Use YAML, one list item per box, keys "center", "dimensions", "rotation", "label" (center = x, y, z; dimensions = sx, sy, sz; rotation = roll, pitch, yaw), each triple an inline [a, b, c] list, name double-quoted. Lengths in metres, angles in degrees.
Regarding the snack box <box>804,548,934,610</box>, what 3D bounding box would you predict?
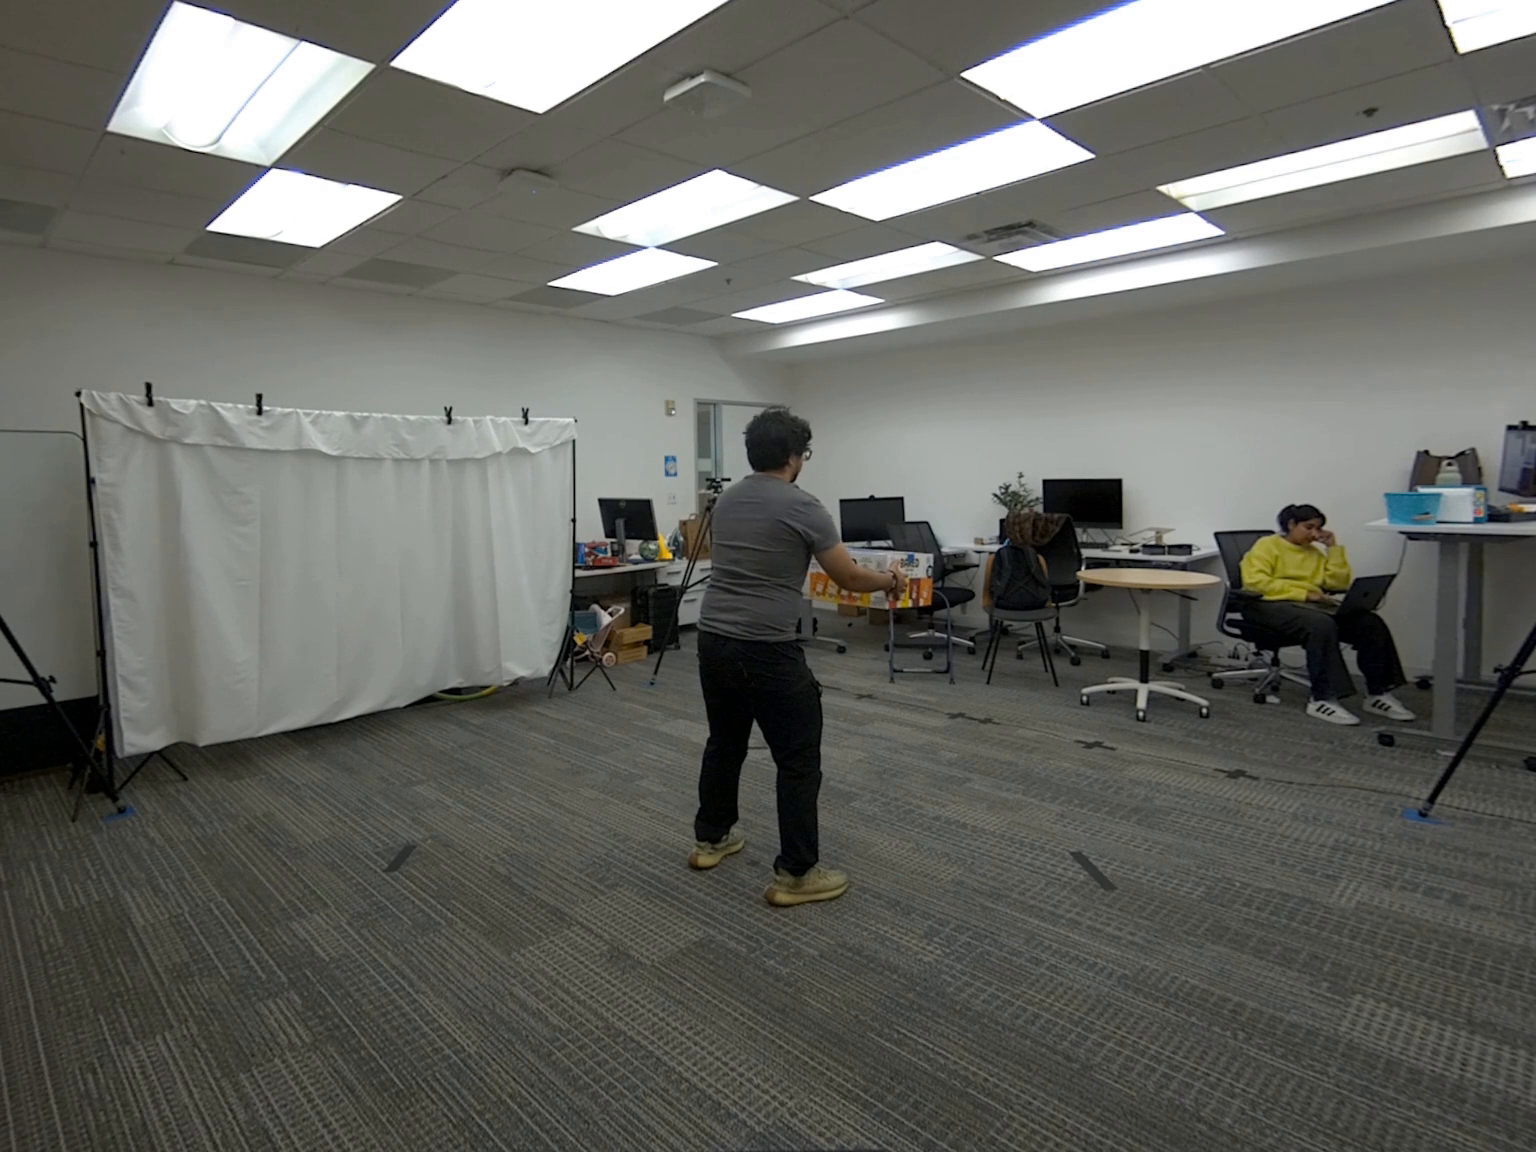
- center: [0.384, 0.001, 3.368]
  dimensions: [0.418, 0.205, 0.330]
  rotation: [5, 3, 40]
  label: "snack box"
